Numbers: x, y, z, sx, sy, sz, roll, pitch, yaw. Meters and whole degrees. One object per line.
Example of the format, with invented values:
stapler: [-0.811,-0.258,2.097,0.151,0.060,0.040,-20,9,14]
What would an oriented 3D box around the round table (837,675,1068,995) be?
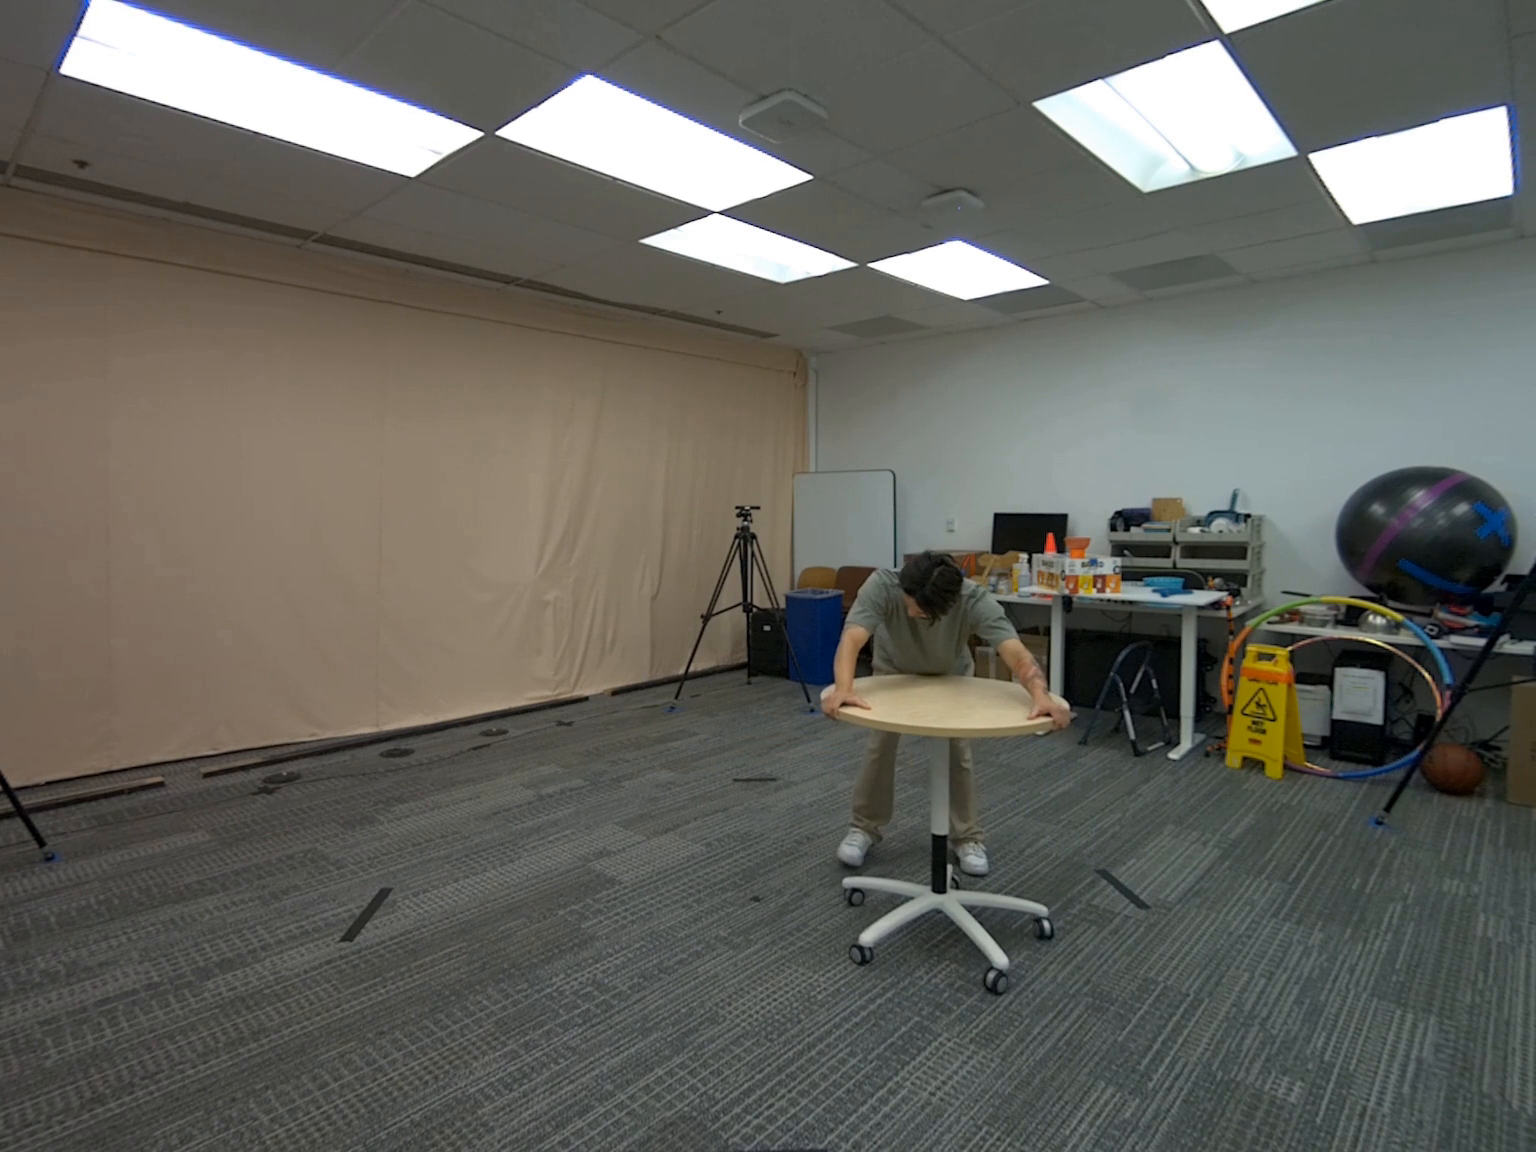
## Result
round table: [0.569,0.777,2.714,0.784,0.785,0.788,0,4,-2]
